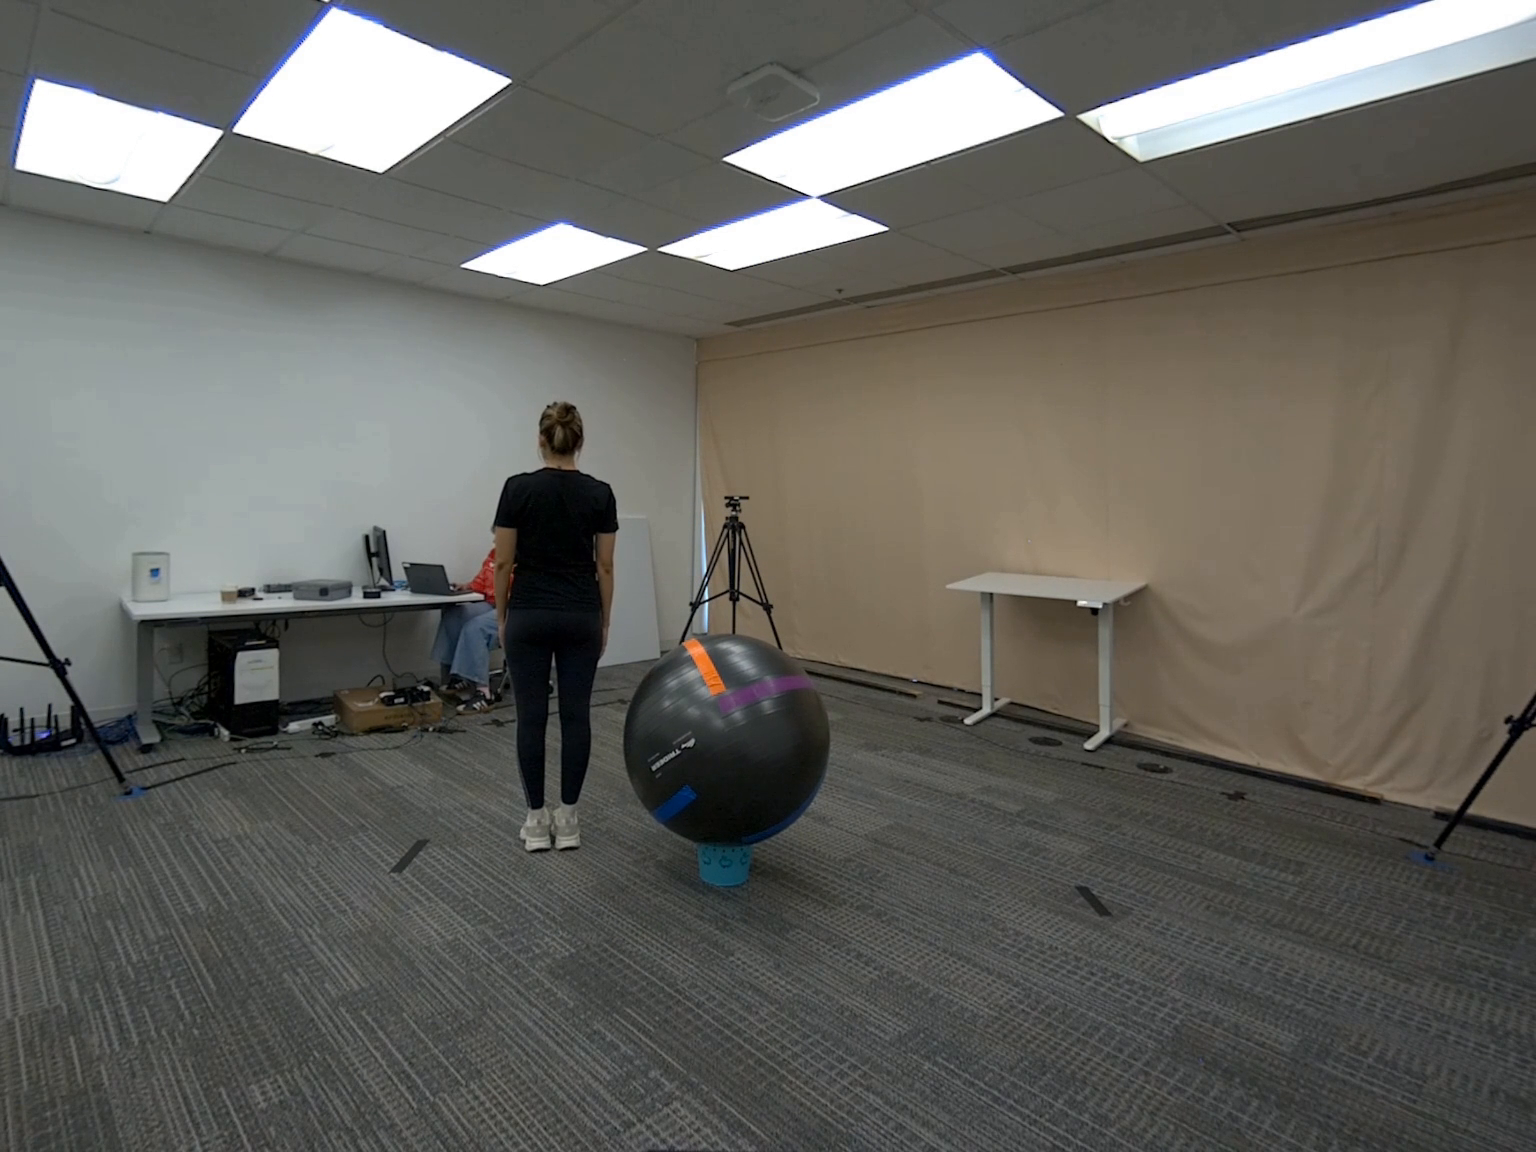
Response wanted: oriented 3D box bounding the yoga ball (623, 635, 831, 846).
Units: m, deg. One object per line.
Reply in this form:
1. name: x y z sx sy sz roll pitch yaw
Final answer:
1. yoga ball: -0.159 0.593 3.084 0.757 0.756 0.761 1 4 -1
